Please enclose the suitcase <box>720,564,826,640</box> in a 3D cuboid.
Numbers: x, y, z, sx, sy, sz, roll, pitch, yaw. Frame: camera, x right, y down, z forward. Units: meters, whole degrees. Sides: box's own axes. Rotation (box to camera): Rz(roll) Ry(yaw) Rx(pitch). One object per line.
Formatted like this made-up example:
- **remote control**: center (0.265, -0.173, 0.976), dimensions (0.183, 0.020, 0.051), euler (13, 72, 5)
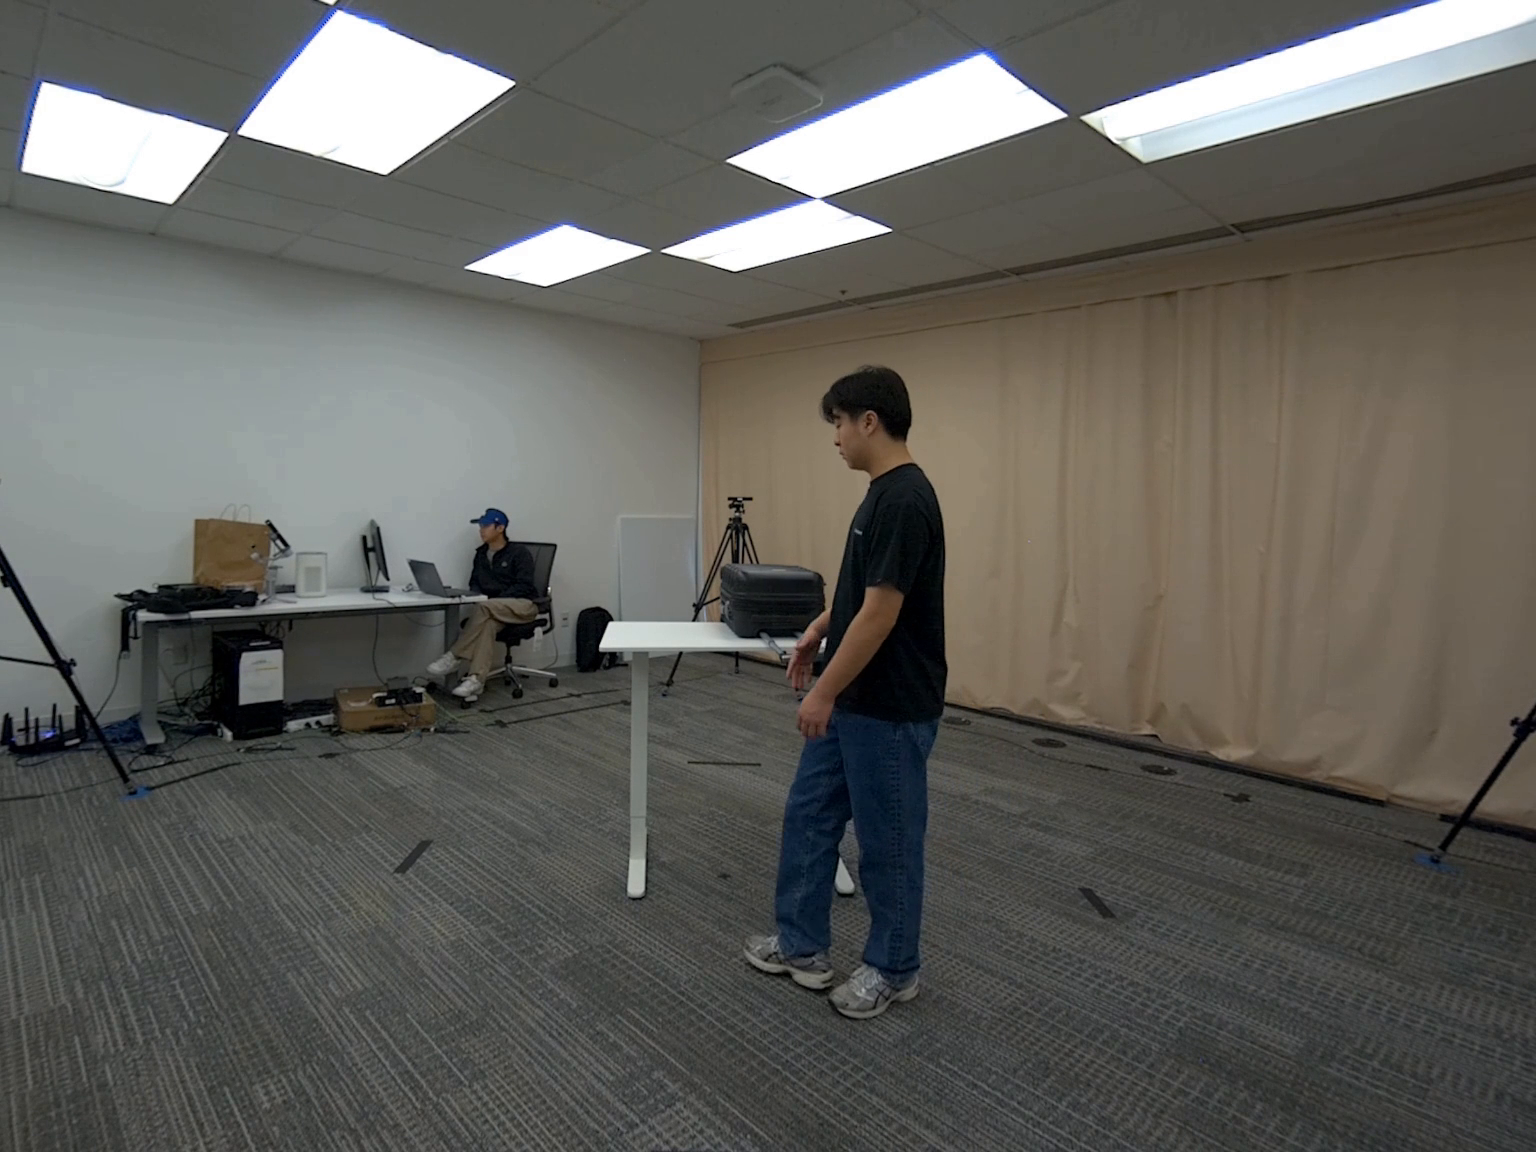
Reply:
- **suitcase**: center (0.034, 0.105, 3.099), dimensions (0.381, 0.257, 0.987), euler (2, 3, -10)
